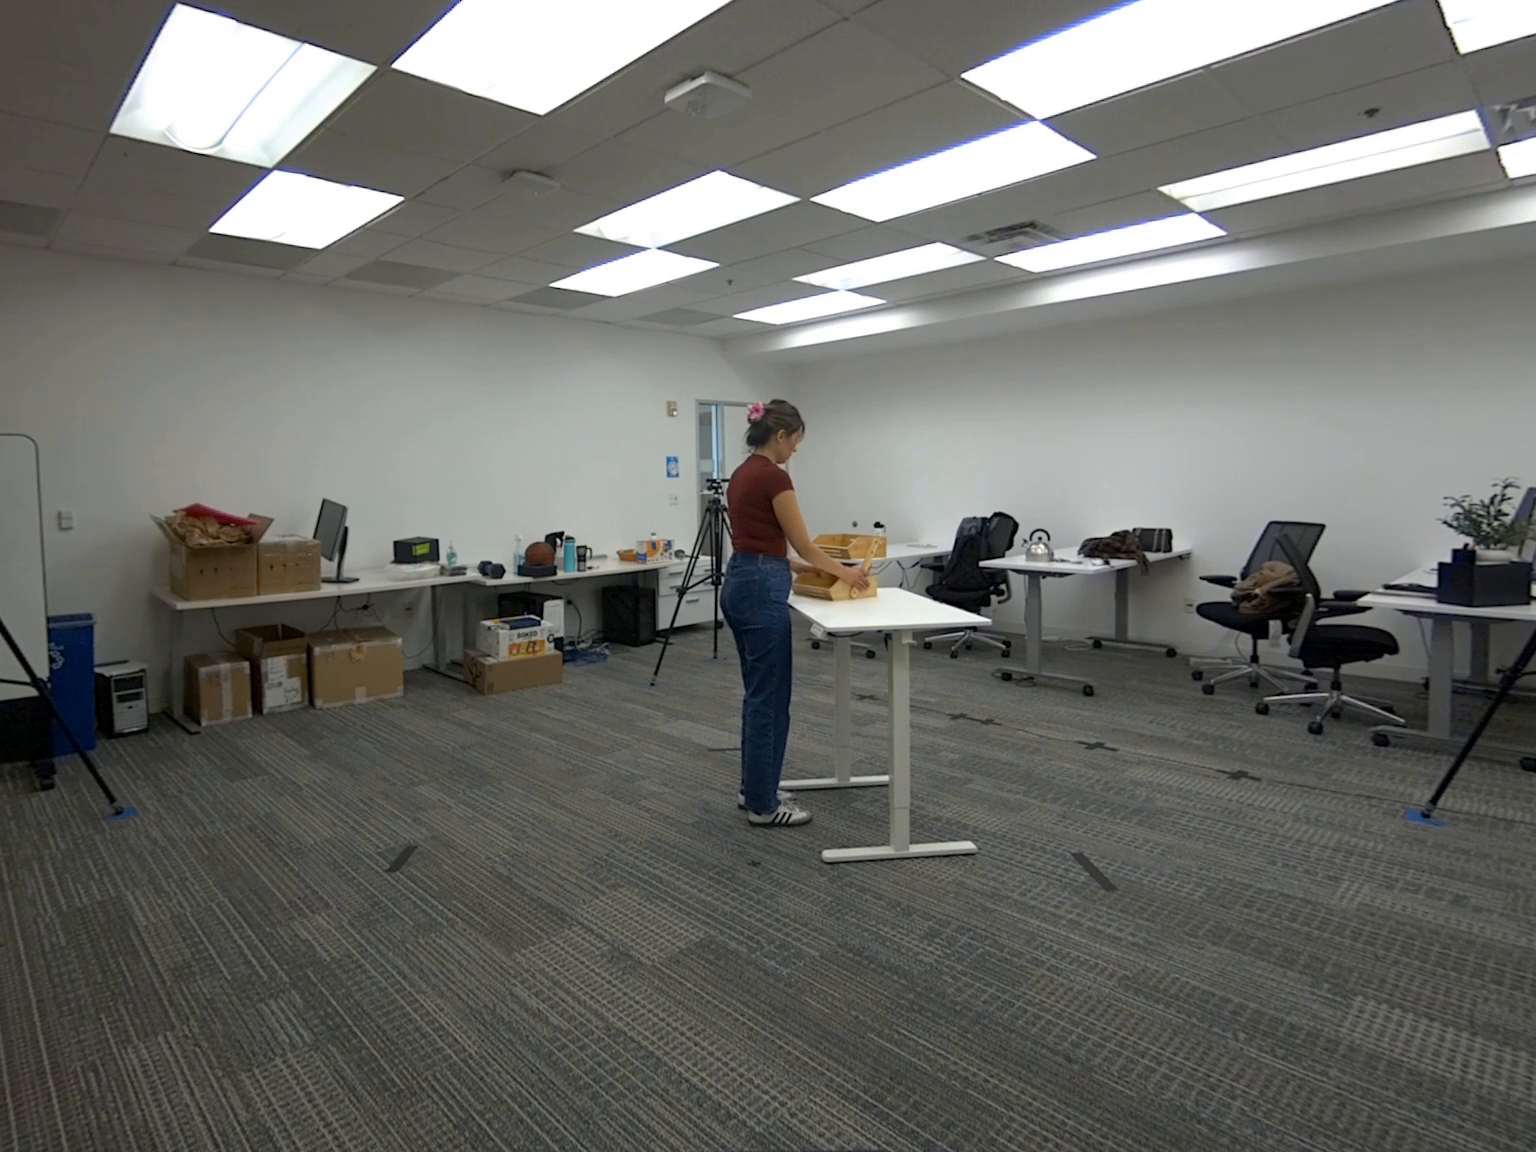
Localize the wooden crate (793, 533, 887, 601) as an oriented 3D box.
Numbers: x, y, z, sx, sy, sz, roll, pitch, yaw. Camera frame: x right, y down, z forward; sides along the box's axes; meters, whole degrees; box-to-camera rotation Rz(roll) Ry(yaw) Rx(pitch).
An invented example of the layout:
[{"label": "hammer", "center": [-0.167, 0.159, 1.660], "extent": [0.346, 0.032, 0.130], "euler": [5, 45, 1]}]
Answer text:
[{"label": "wooden crate", "center": [0.306, -0.050, 3.763], "extent": [0.295, 0.272, 0.333], "euler": [-2, 5, -31]}]
